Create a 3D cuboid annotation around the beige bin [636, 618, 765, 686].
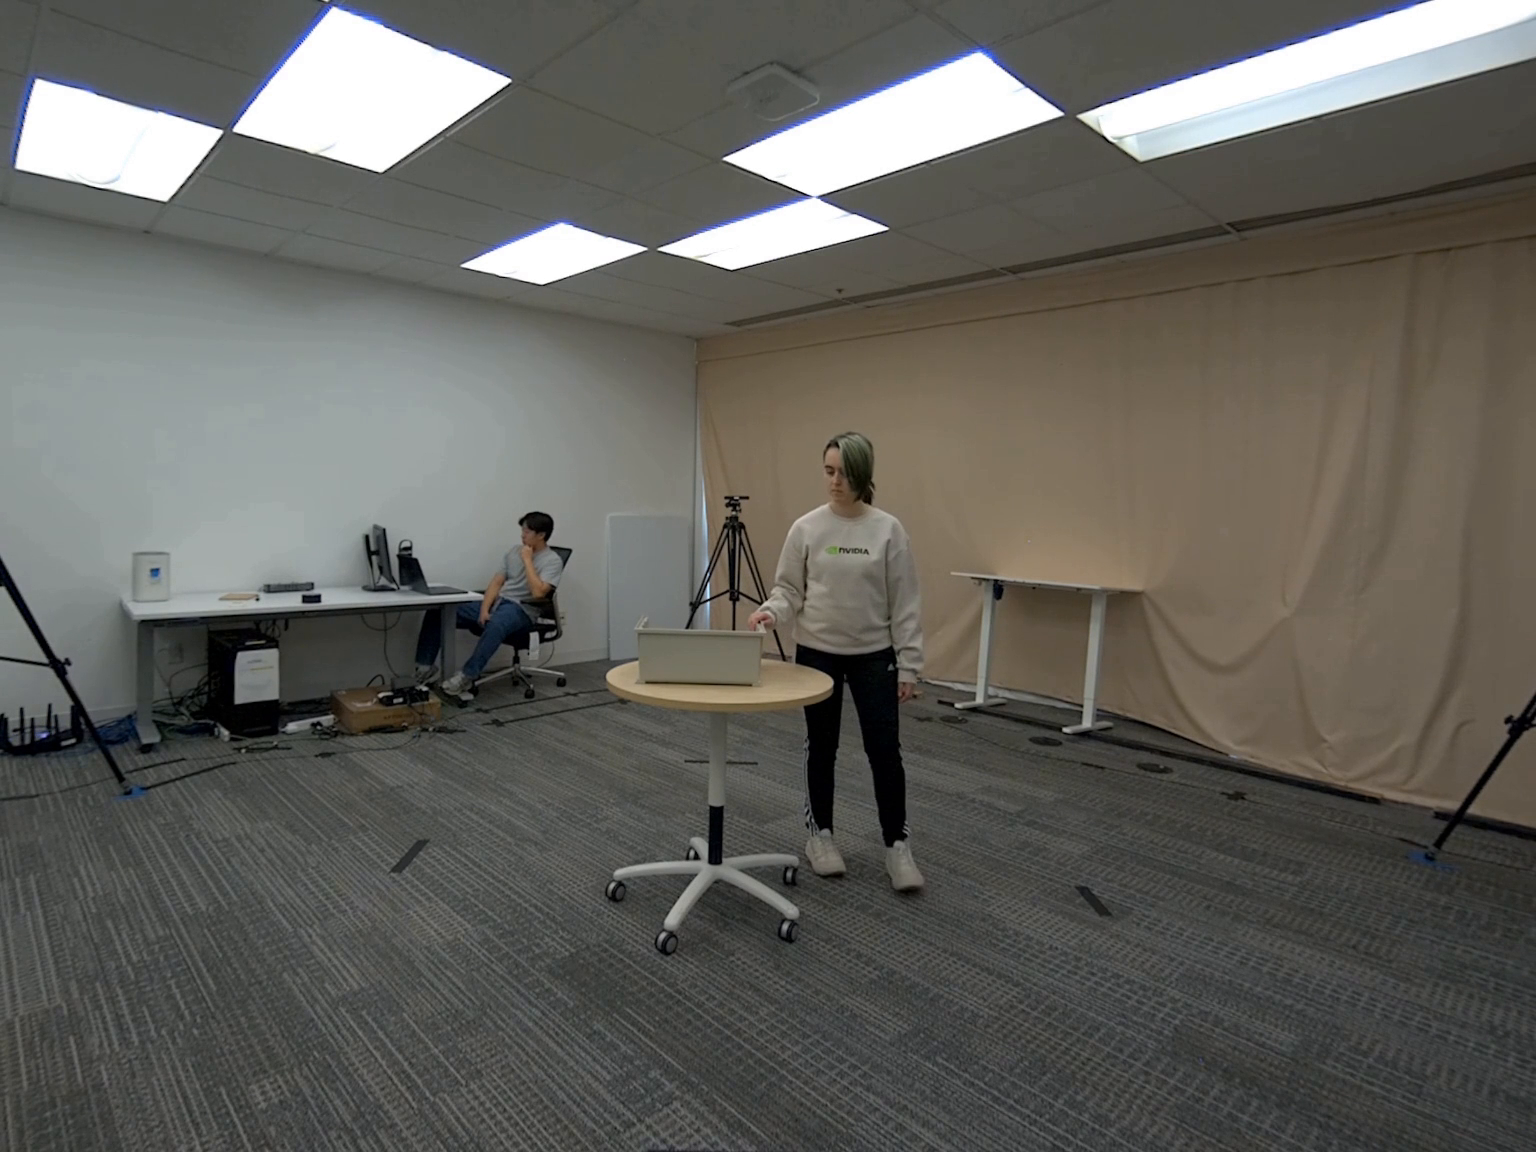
[{"bbox_3d":[-0.237,0.247,2.876,0.422,0.188,0.379,2,6,-2],"label":"beige bin"}]
